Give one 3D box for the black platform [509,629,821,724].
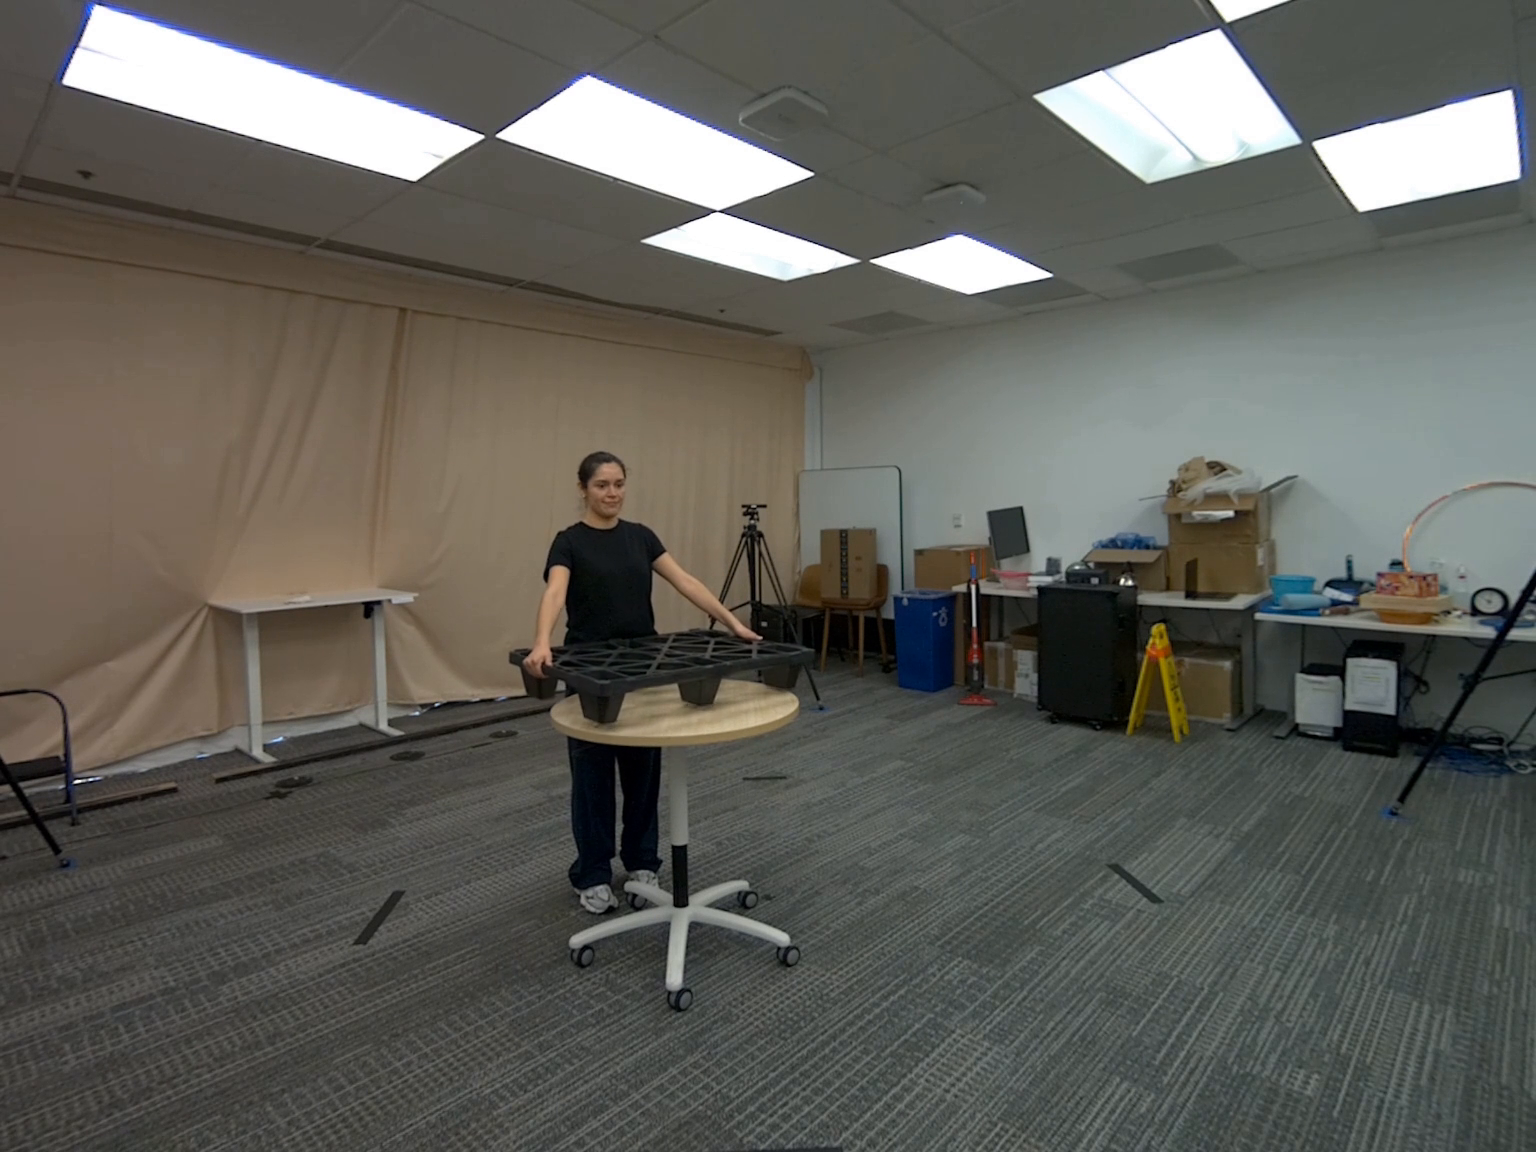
[{"bbox_3d":[-0.326,0.307,2.705,0.781,0.143,0.625,-4,6,-40],"label":"black platform"}]
